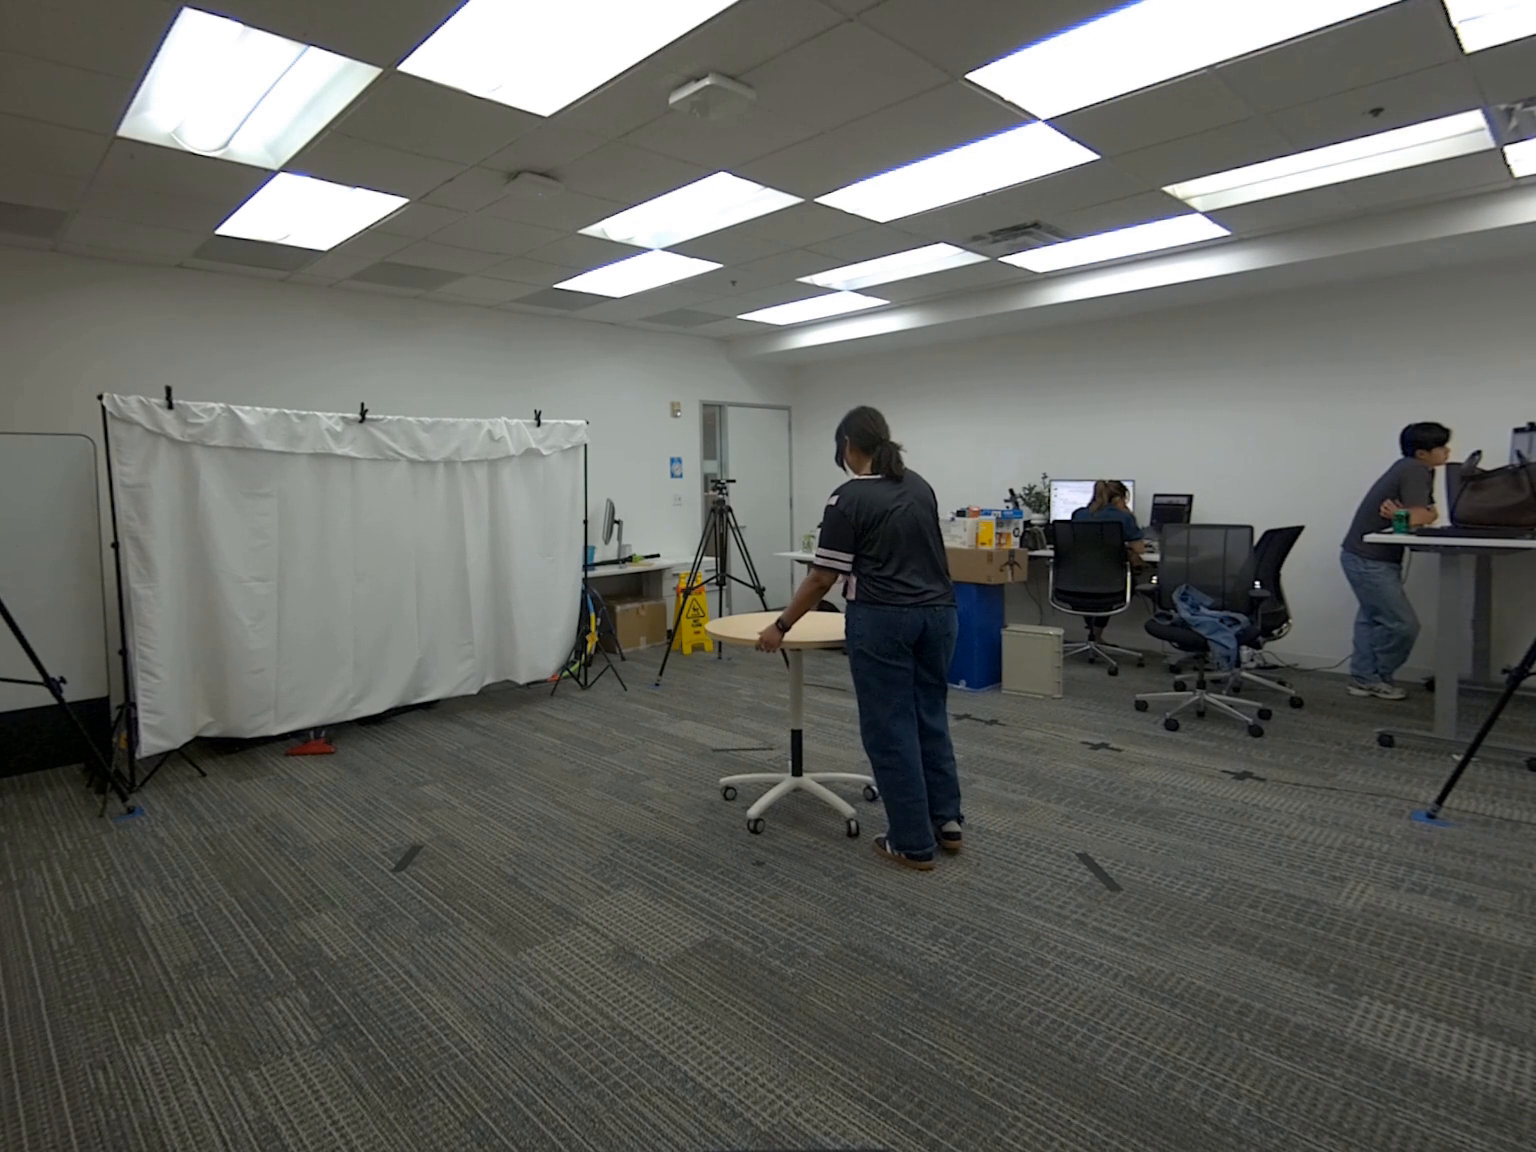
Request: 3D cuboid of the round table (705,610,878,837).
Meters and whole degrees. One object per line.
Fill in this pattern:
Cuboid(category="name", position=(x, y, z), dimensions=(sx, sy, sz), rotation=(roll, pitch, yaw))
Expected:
Cuboid(category="round table", position=(0.111, 0.594, 3.604), dimensions=(0.784, 0.784, 0.789), rotation=(-1, 5, -2))
